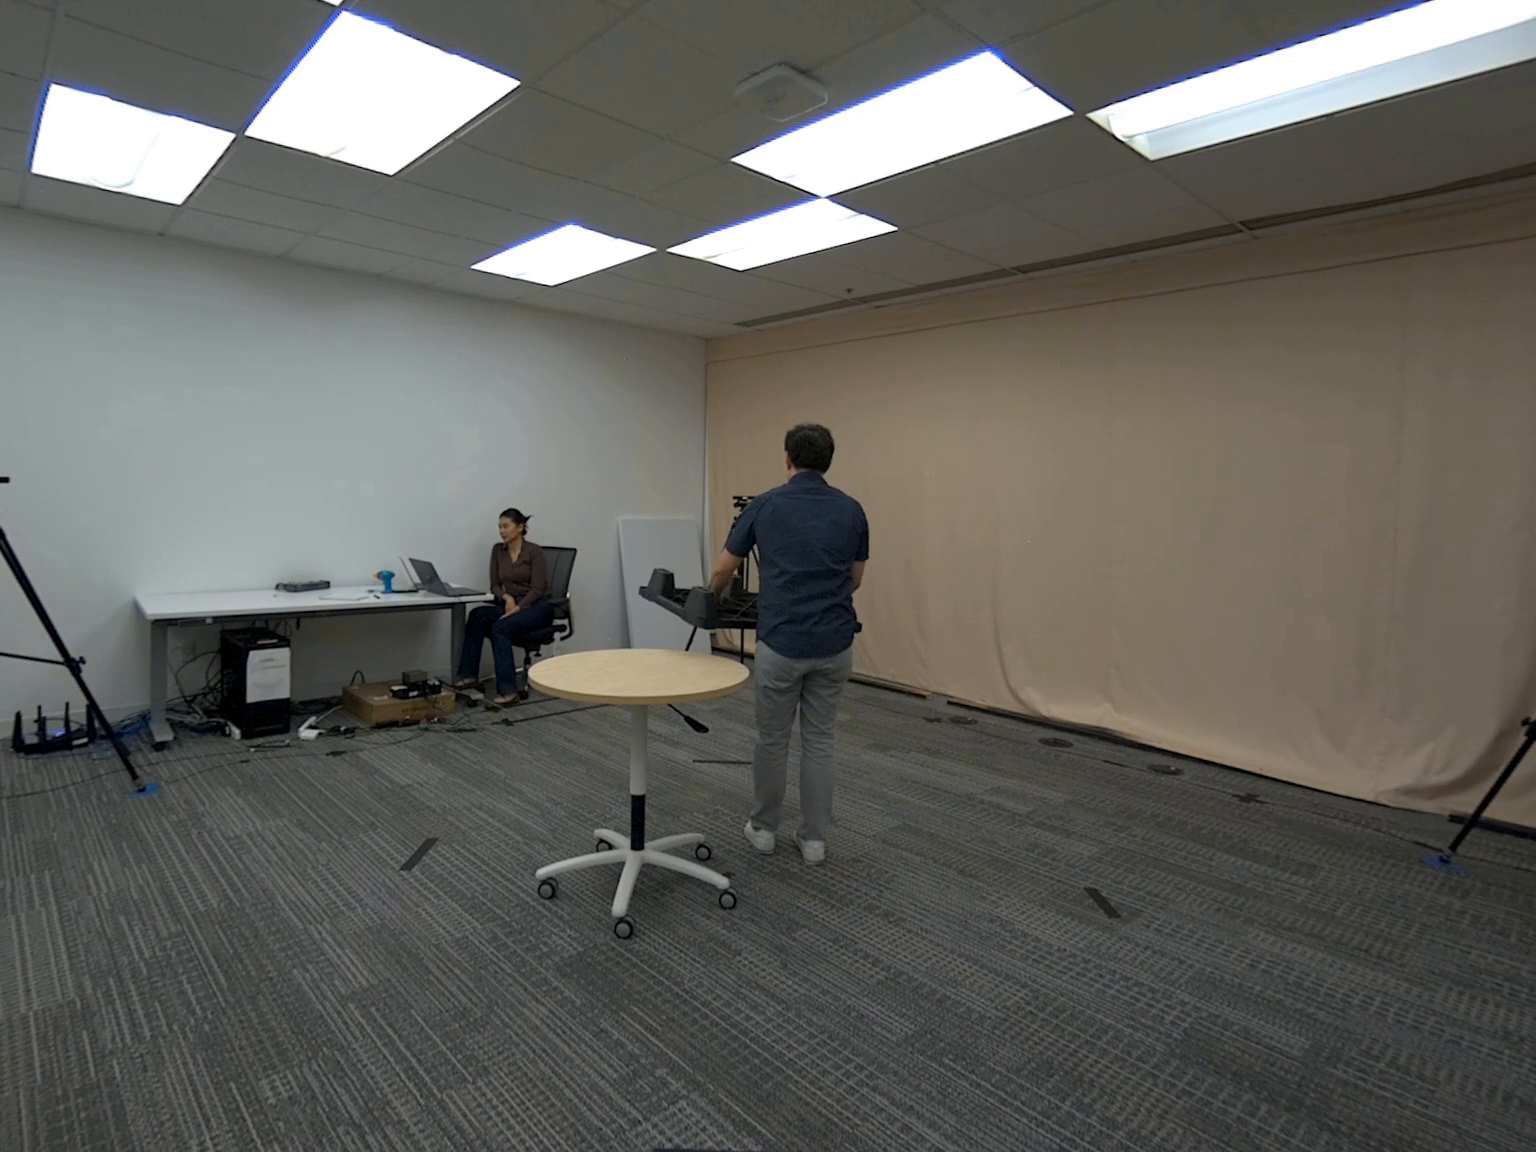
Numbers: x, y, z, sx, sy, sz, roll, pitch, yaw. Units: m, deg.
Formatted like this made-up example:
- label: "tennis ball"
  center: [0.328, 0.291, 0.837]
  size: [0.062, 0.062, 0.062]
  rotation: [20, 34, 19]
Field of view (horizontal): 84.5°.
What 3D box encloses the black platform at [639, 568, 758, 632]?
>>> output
- label: "black platform"
  center: [-0.085, 0.097, 3.648]
  size: [0.788, 0.142, 0.622]
  rotation: [4, 11, -31]
